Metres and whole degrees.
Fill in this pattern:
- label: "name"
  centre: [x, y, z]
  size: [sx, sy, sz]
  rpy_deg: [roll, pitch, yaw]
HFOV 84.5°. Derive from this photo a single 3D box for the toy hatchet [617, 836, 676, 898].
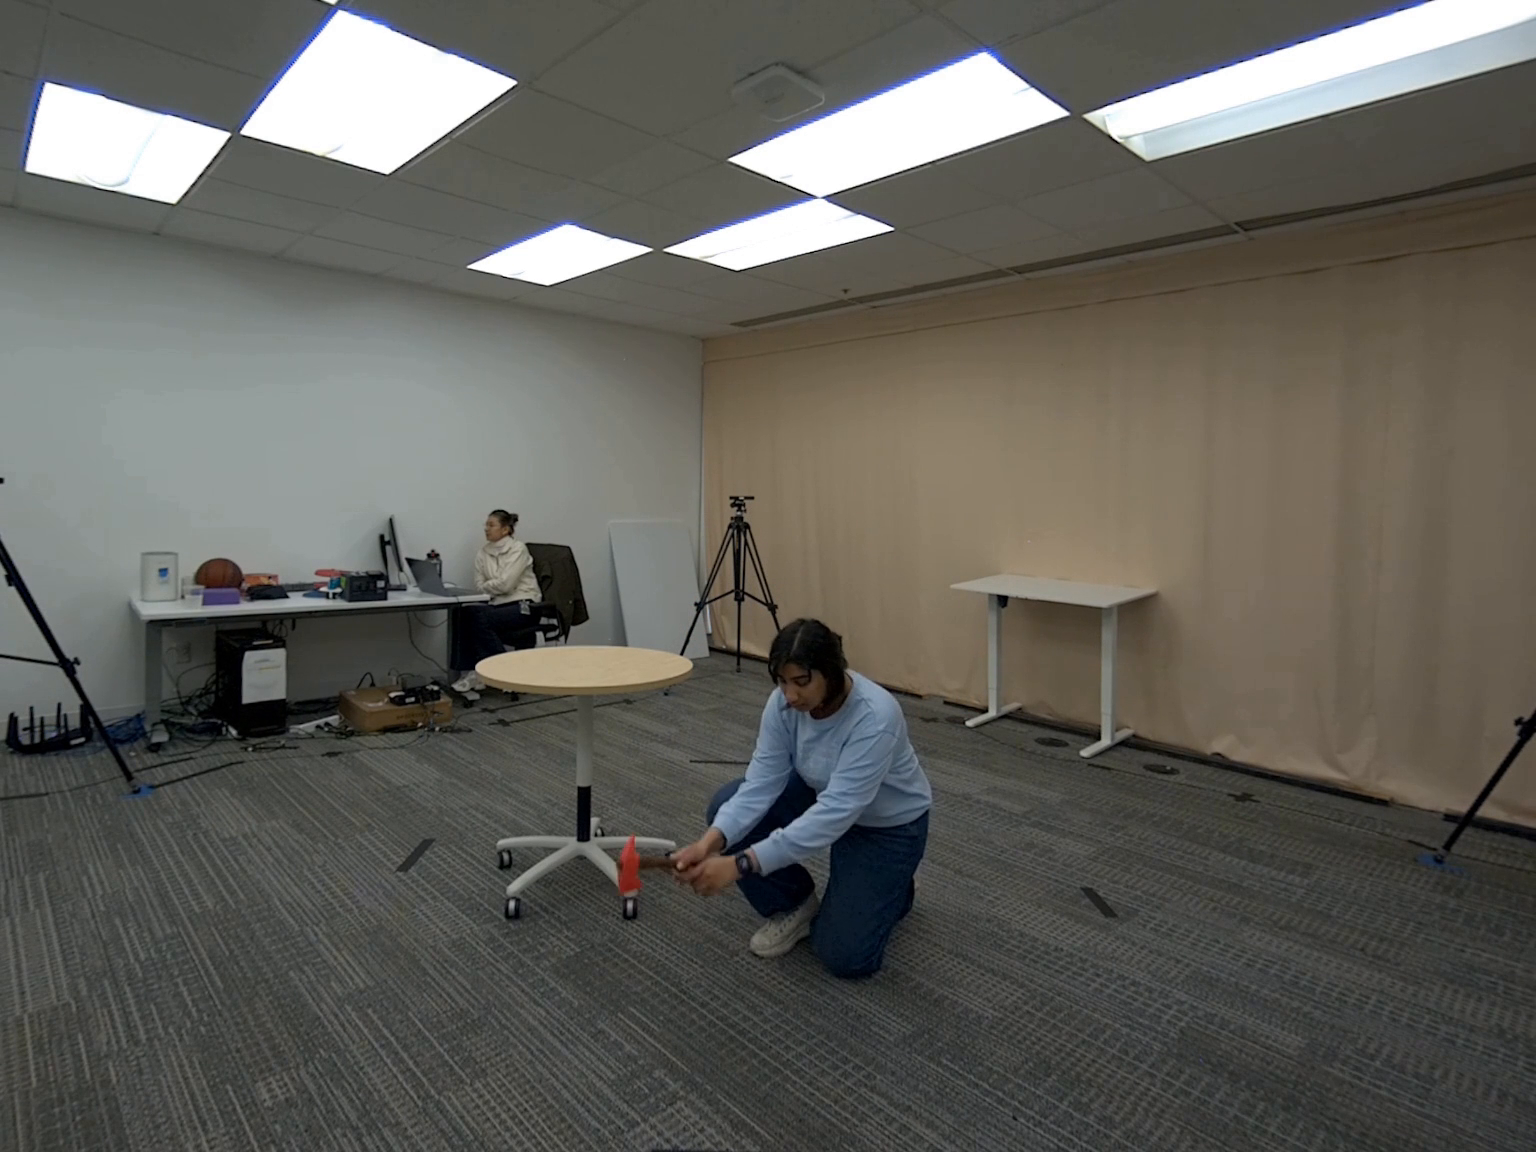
- label: "toy hatchet"
  centre: [-0.279, 0.727, 2.043]
  size: [0.030, 0.132, 0.262]
  rpy_deg: [-8, -40, 45]
